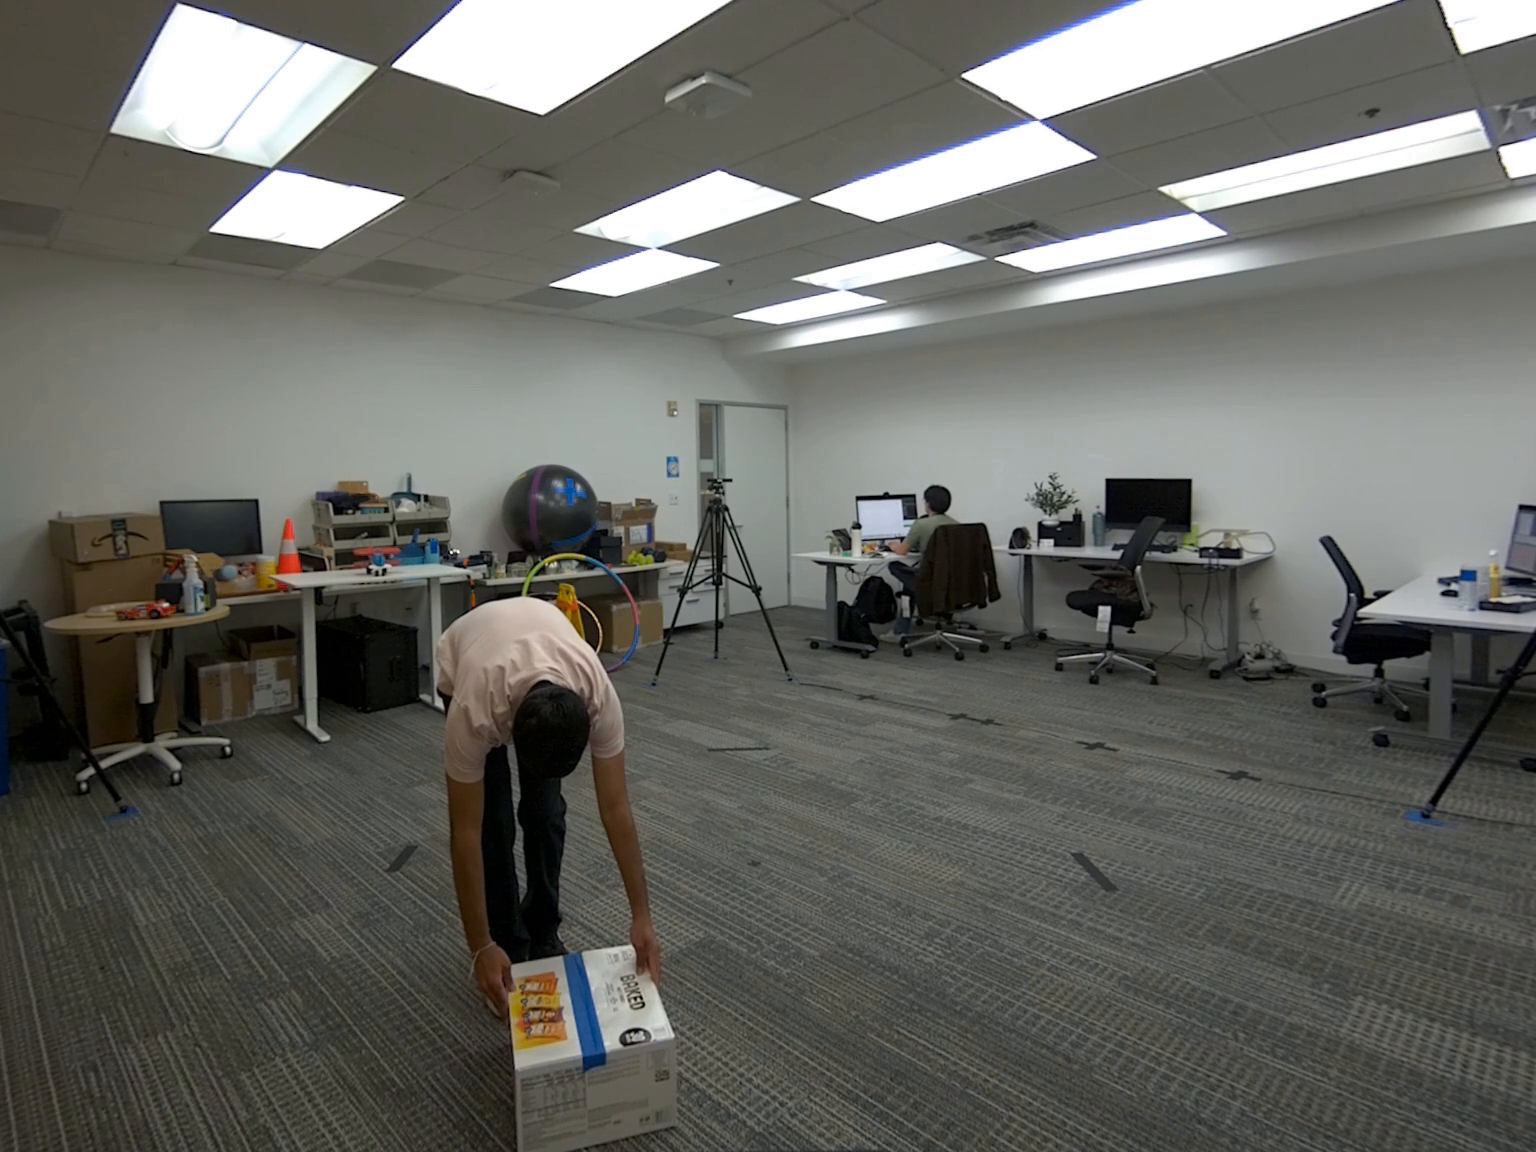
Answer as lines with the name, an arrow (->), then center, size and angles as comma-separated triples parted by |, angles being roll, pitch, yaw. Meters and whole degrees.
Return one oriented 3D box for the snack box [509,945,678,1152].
snack box -> -0.411, 1.084, 1.980 | 0.335, 0.205, 0.413 | -3, 6, -18
